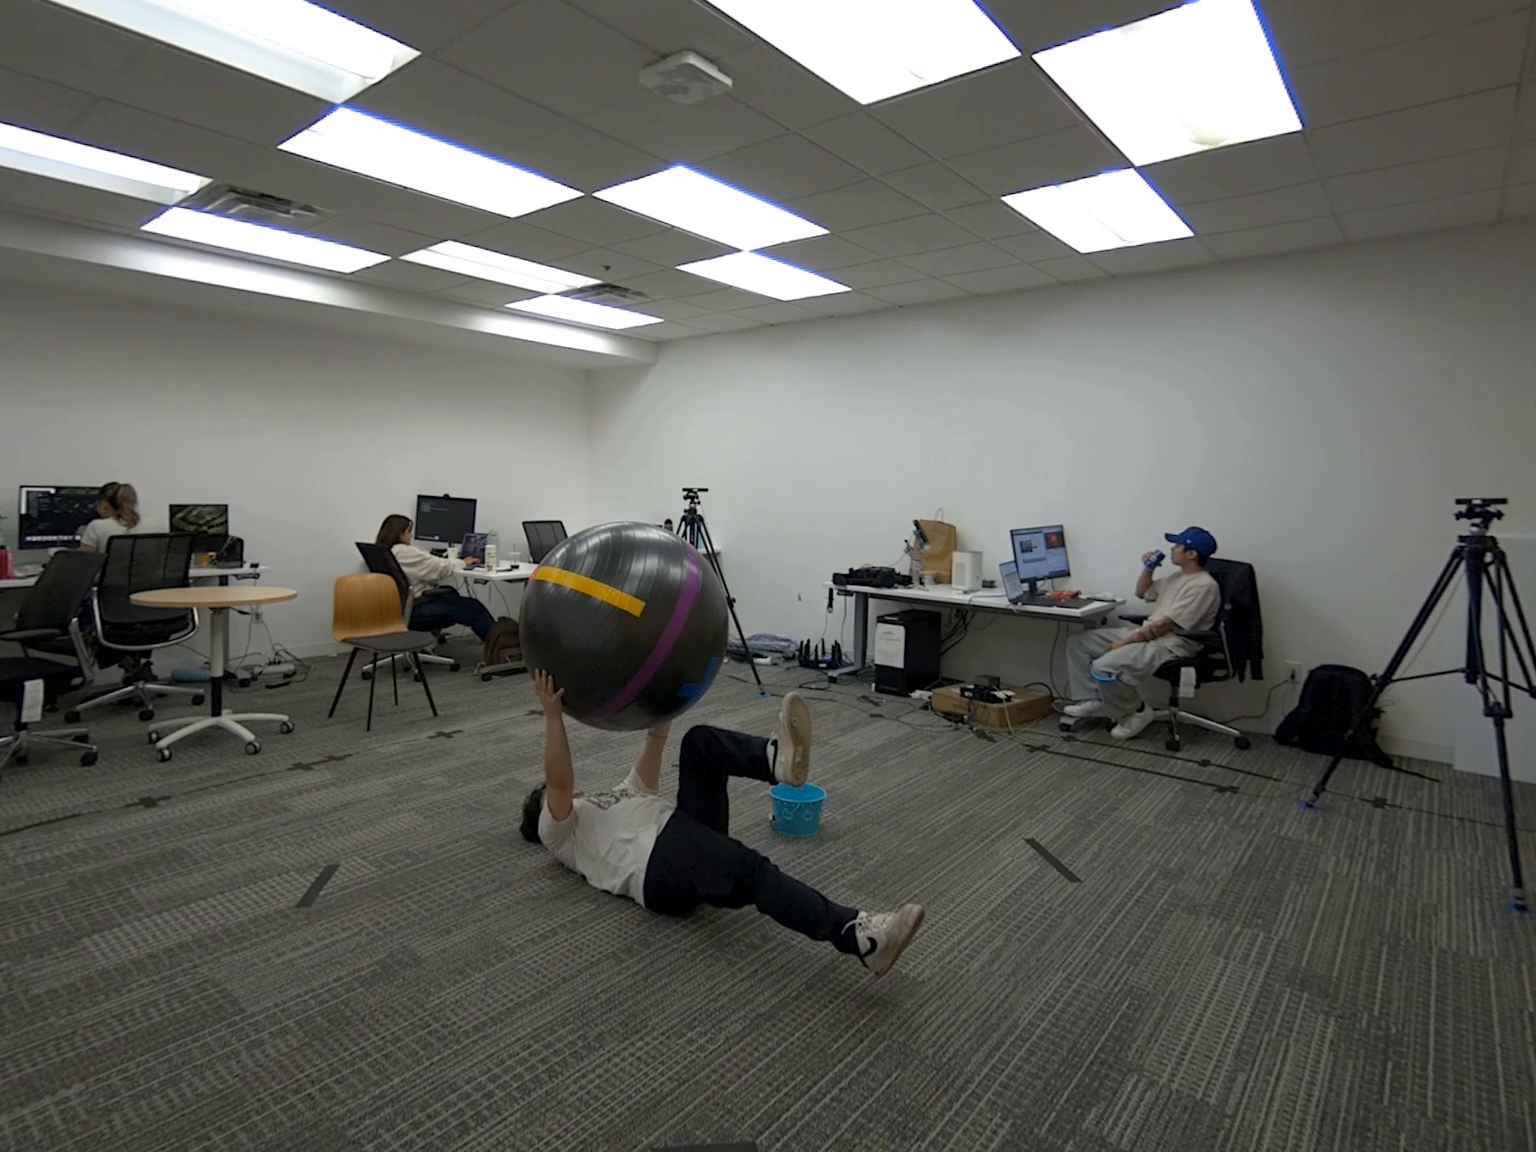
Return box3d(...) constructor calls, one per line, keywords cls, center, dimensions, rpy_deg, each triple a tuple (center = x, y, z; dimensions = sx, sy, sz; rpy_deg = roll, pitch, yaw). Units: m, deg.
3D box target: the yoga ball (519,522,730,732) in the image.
box3d(cls="yoga ball", center=(-0.533, 0.184, 3.096), dimensions=(0.757, 0.756, 0.761), rpy_deg=(1, 4, -2))
